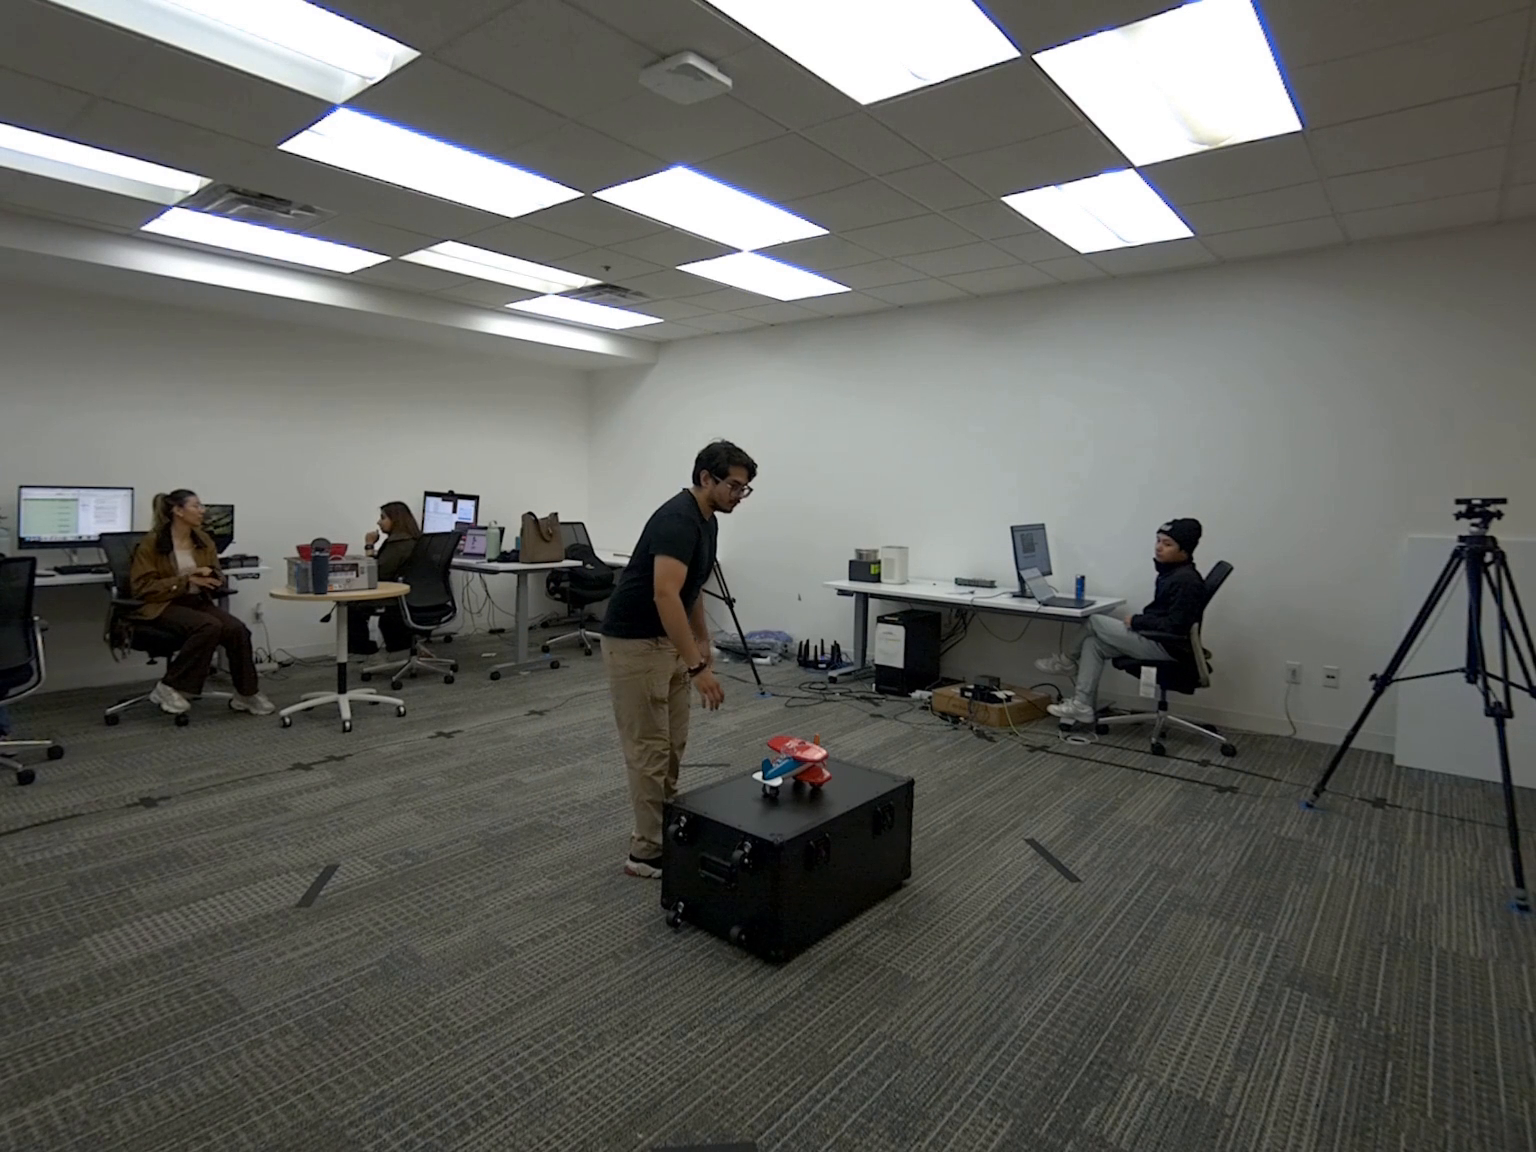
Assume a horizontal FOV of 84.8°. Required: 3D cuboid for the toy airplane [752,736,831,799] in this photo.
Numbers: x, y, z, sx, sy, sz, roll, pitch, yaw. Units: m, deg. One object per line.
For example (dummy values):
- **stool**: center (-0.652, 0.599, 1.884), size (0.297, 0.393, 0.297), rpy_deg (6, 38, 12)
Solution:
- **toy airplane**: center (0.083, 0.645, 2.875), size (0.257, 0.156, 0.254), rpy_deg (3, 4, 20)
